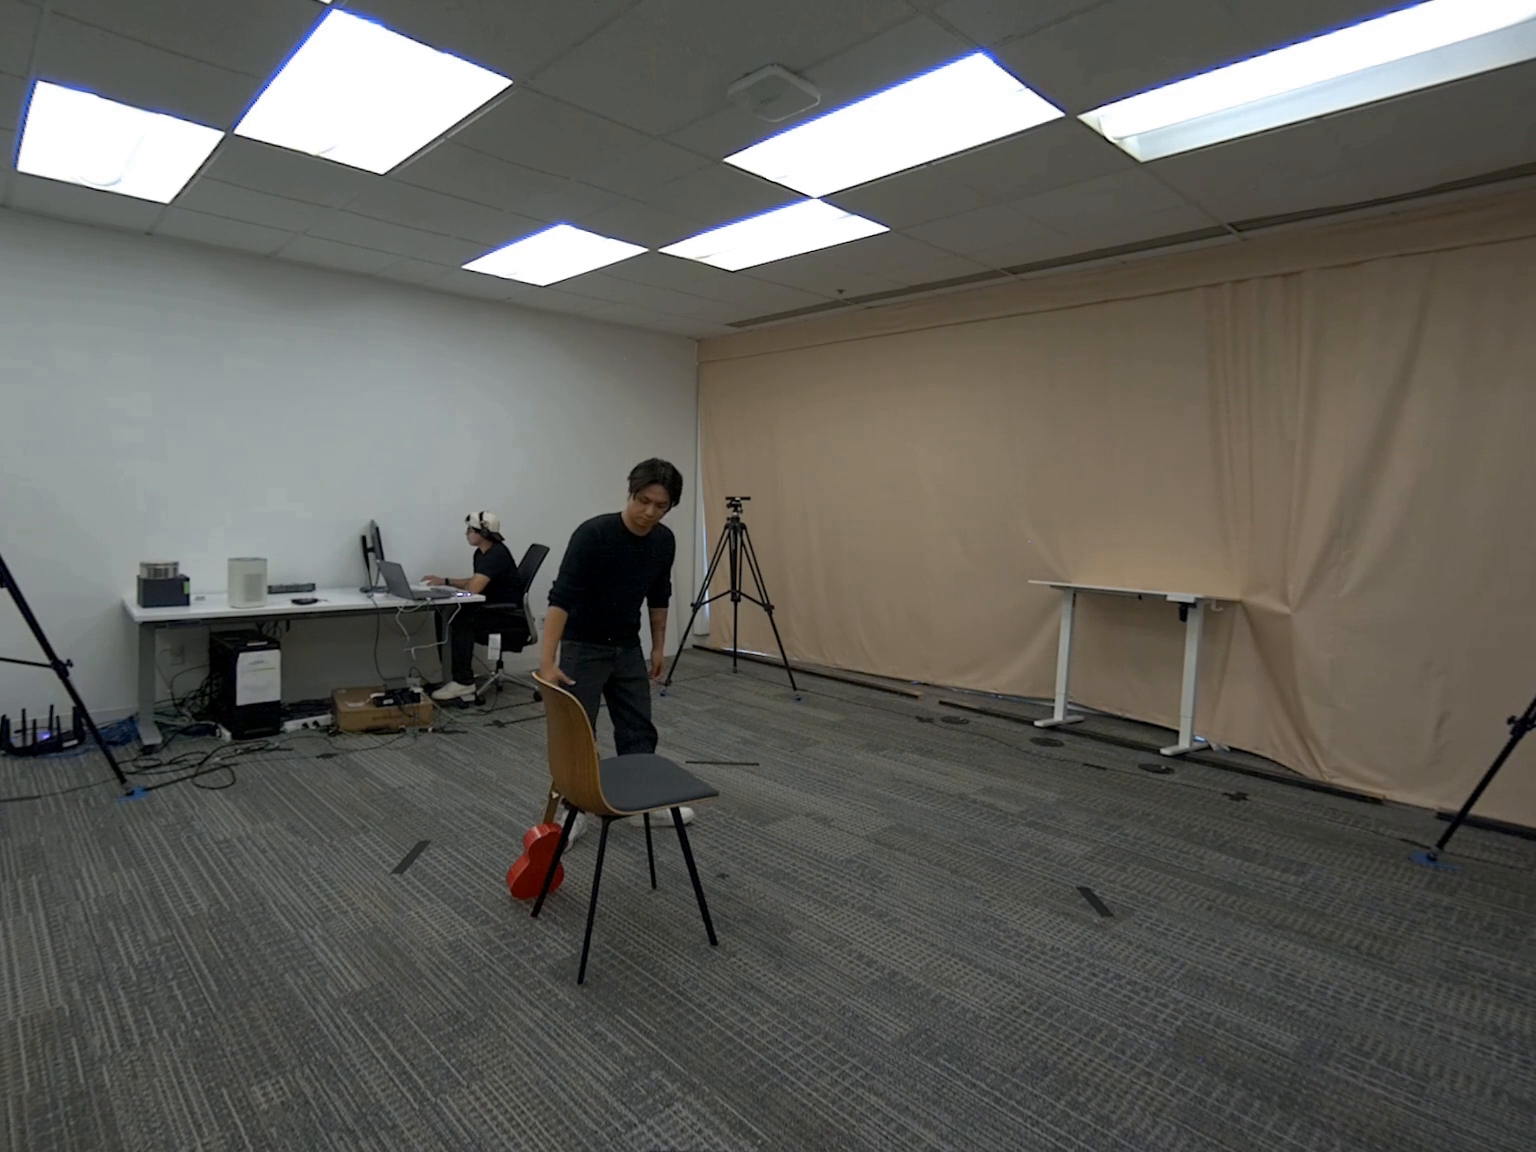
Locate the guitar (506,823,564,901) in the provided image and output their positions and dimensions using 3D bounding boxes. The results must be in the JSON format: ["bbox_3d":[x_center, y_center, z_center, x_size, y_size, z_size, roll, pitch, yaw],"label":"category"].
[{"bbox_3d":[-0.786,0.874,2.845,0.189,0.492,0.073,-4,25,-34],"label":"guitar"}]
